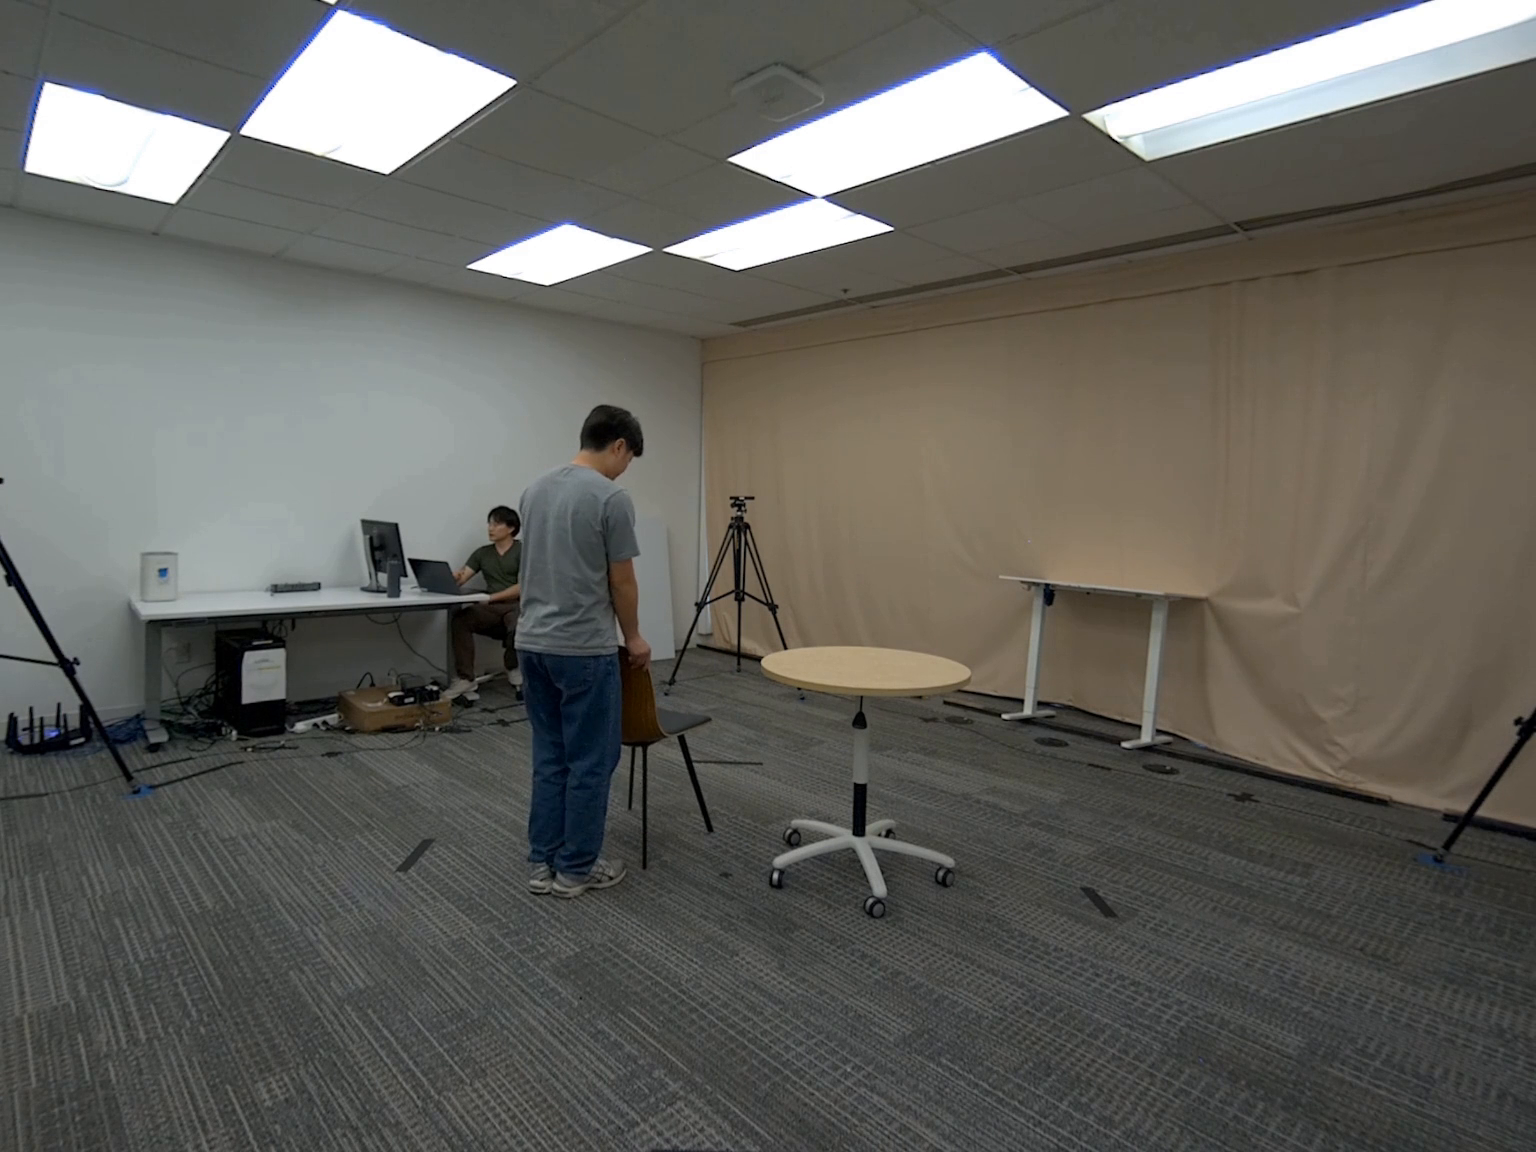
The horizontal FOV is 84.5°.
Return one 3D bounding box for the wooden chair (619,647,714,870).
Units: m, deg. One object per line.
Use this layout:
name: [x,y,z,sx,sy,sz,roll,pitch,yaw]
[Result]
wooden chair: [-0.524,0.635,3.417,0.489,0.873,0.514,3,8,32]
